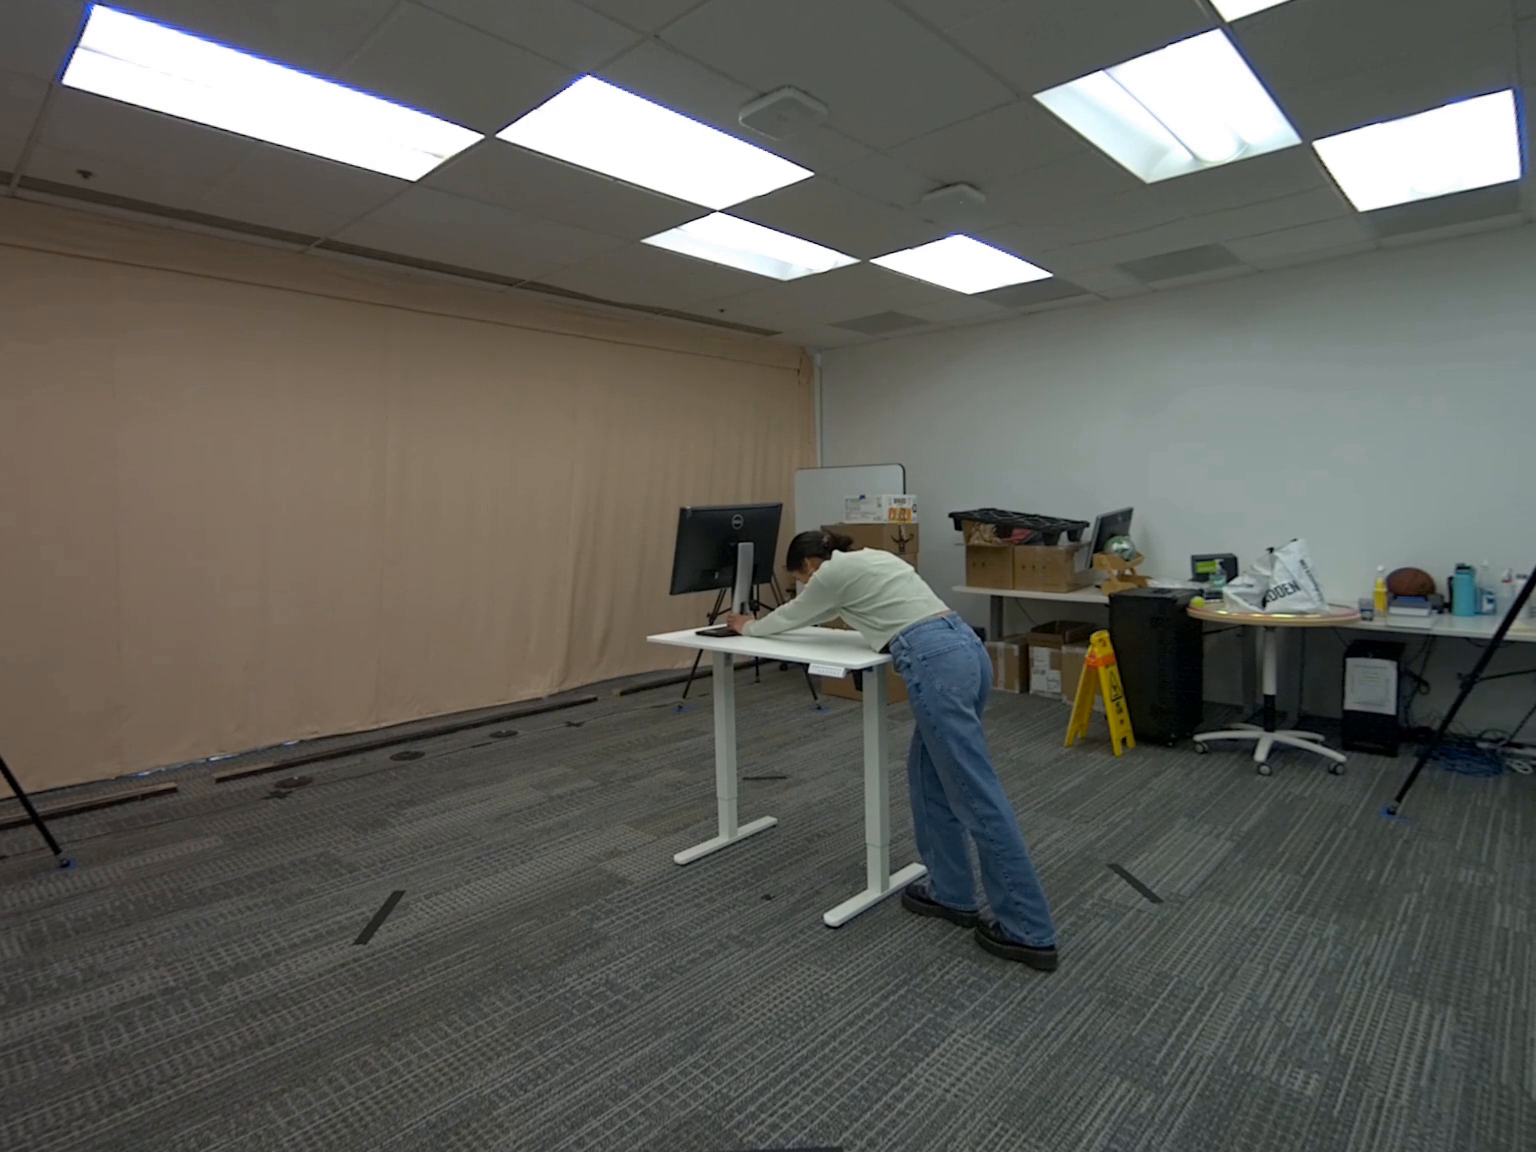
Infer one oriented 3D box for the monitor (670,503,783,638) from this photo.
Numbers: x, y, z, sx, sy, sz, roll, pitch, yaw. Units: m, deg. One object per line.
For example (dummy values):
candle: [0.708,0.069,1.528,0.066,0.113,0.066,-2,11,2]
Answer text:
monitor: [-0.136,-0.025,3.375,0.523,0.521,0.193,-7,8,-44]
